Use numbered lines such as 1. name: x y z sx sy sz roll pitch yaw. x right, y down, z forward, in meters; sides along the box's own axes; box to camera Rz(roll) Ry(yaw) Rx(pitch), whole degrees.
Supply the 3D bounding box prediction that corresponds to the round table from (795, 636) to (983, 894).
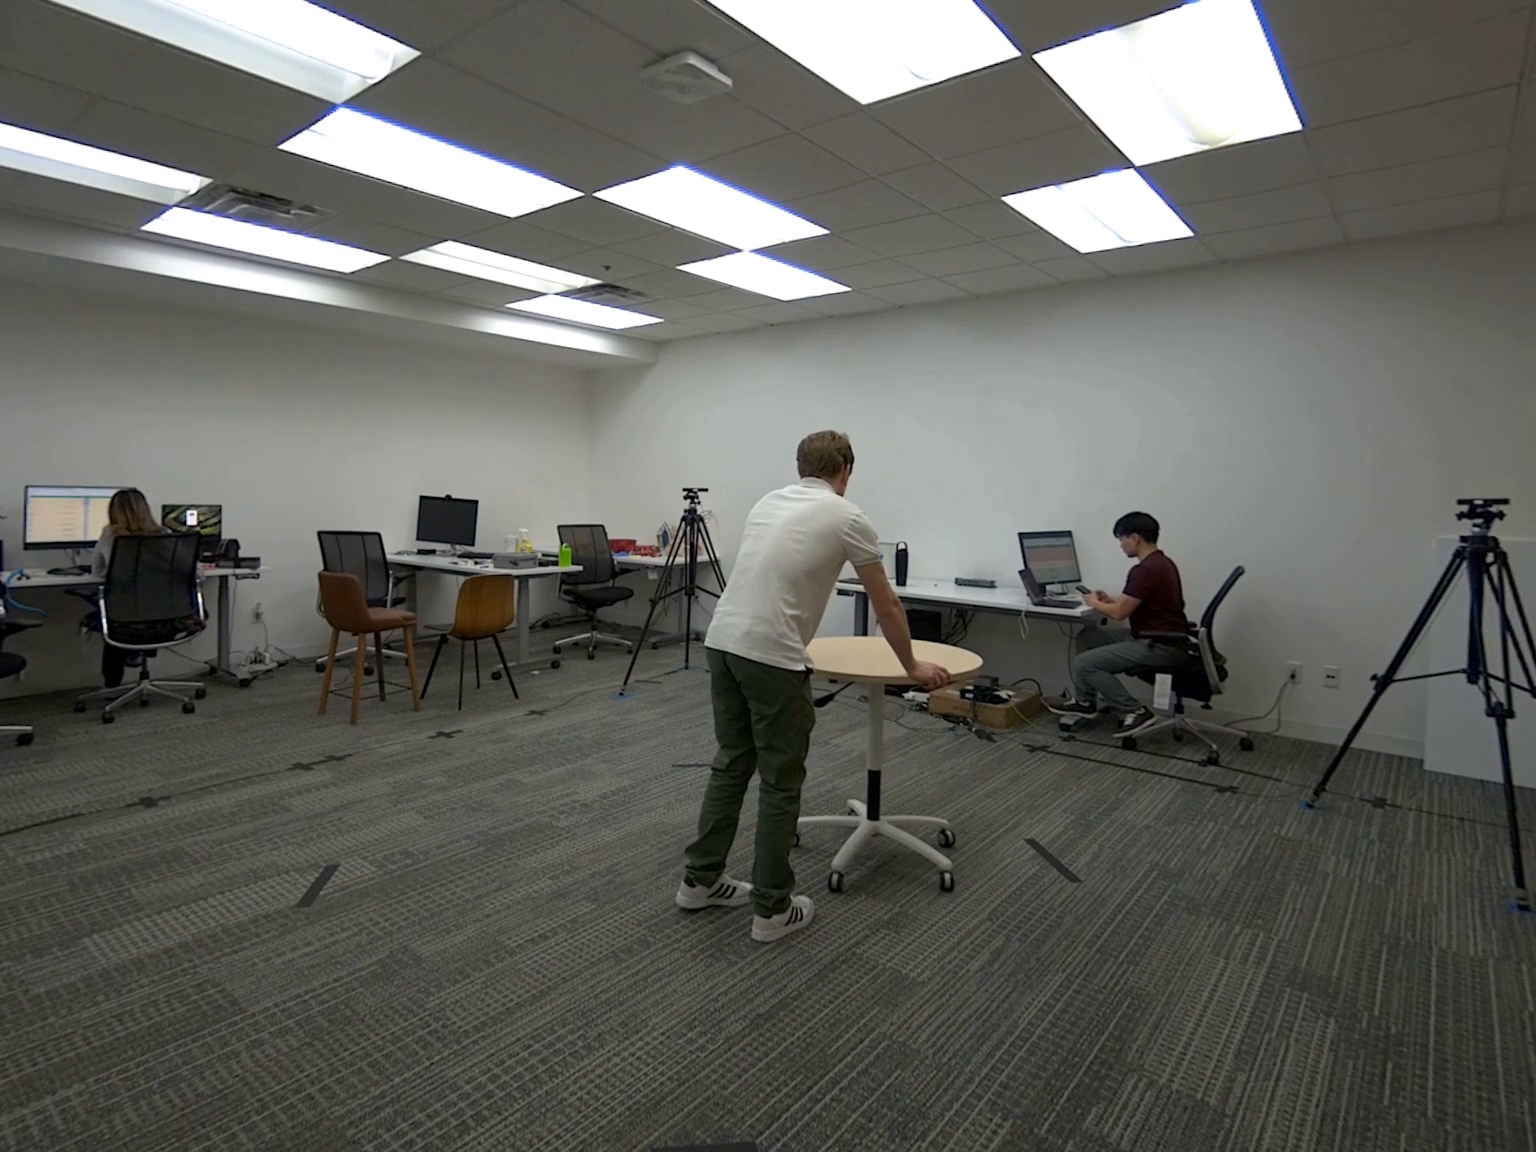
1. round table: 0.403 0.683 3.252 0.763 0.791 0.768 1 4 -2
